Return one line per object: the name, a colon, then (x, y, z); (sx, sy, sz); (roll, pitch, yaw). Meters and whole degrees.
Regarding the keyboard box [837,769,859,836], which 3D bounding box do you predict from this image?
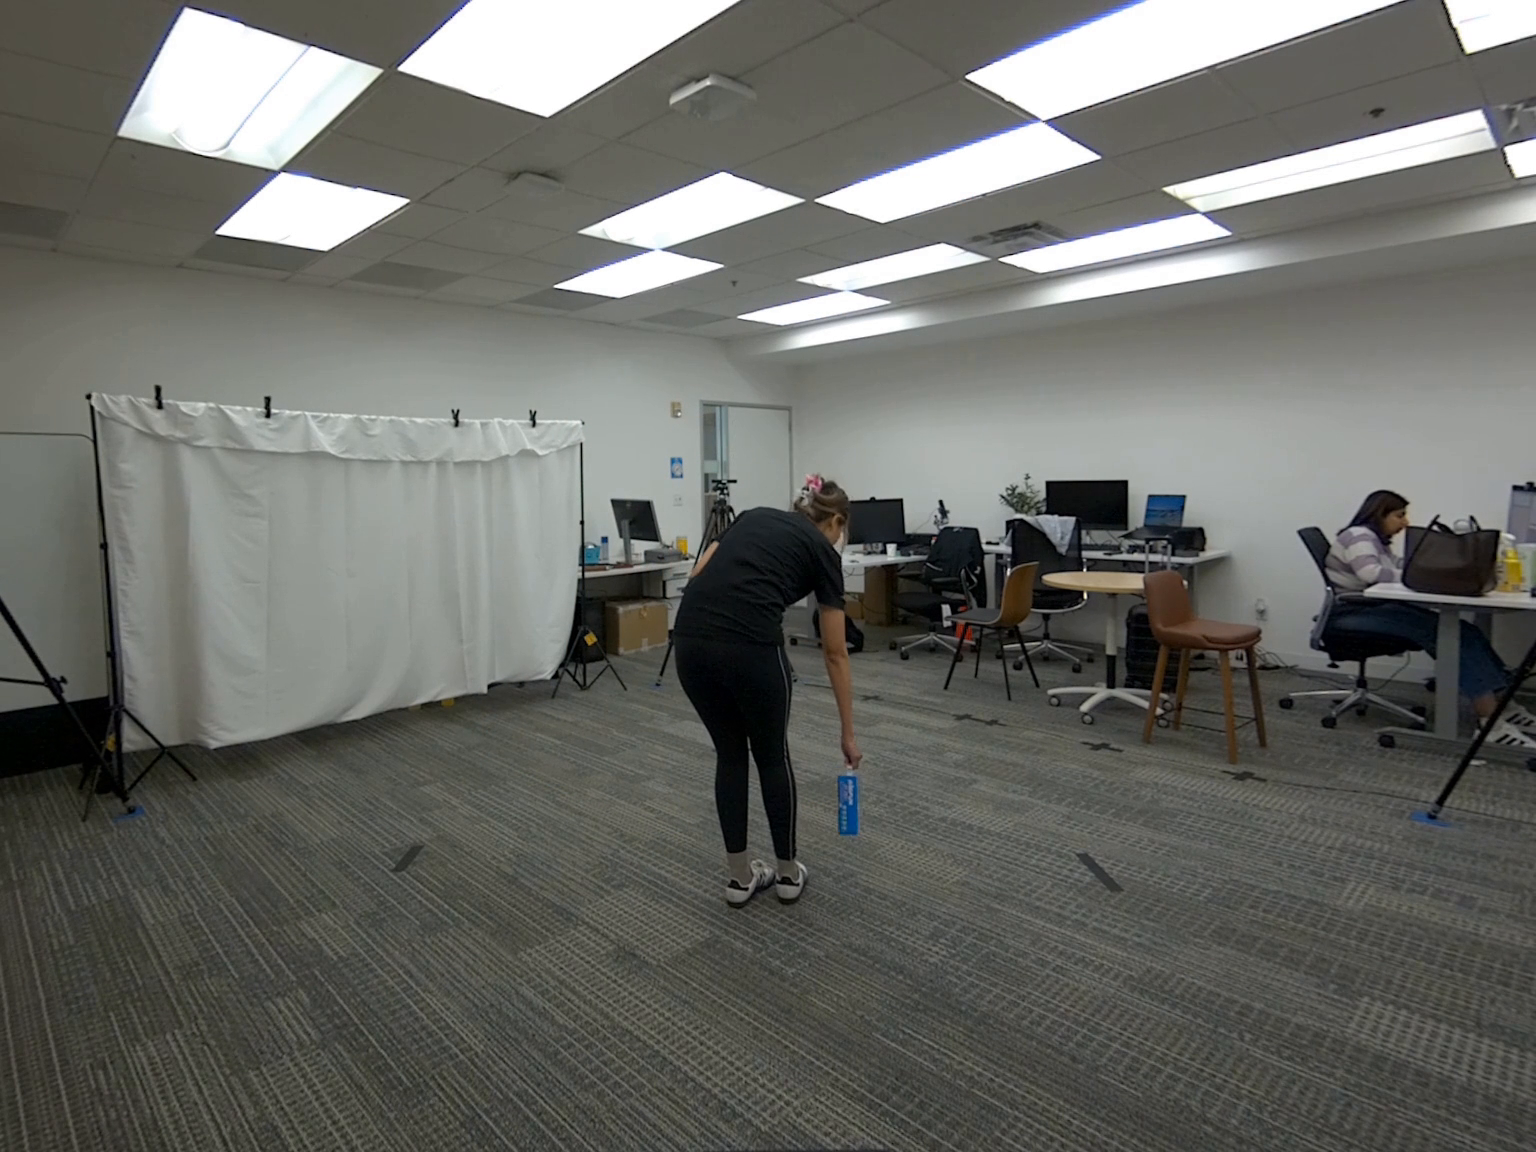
keyboard box: (0.271, 0.740, 2.806); (0.060, 0.178, 0.428); (0, -11, 8)
